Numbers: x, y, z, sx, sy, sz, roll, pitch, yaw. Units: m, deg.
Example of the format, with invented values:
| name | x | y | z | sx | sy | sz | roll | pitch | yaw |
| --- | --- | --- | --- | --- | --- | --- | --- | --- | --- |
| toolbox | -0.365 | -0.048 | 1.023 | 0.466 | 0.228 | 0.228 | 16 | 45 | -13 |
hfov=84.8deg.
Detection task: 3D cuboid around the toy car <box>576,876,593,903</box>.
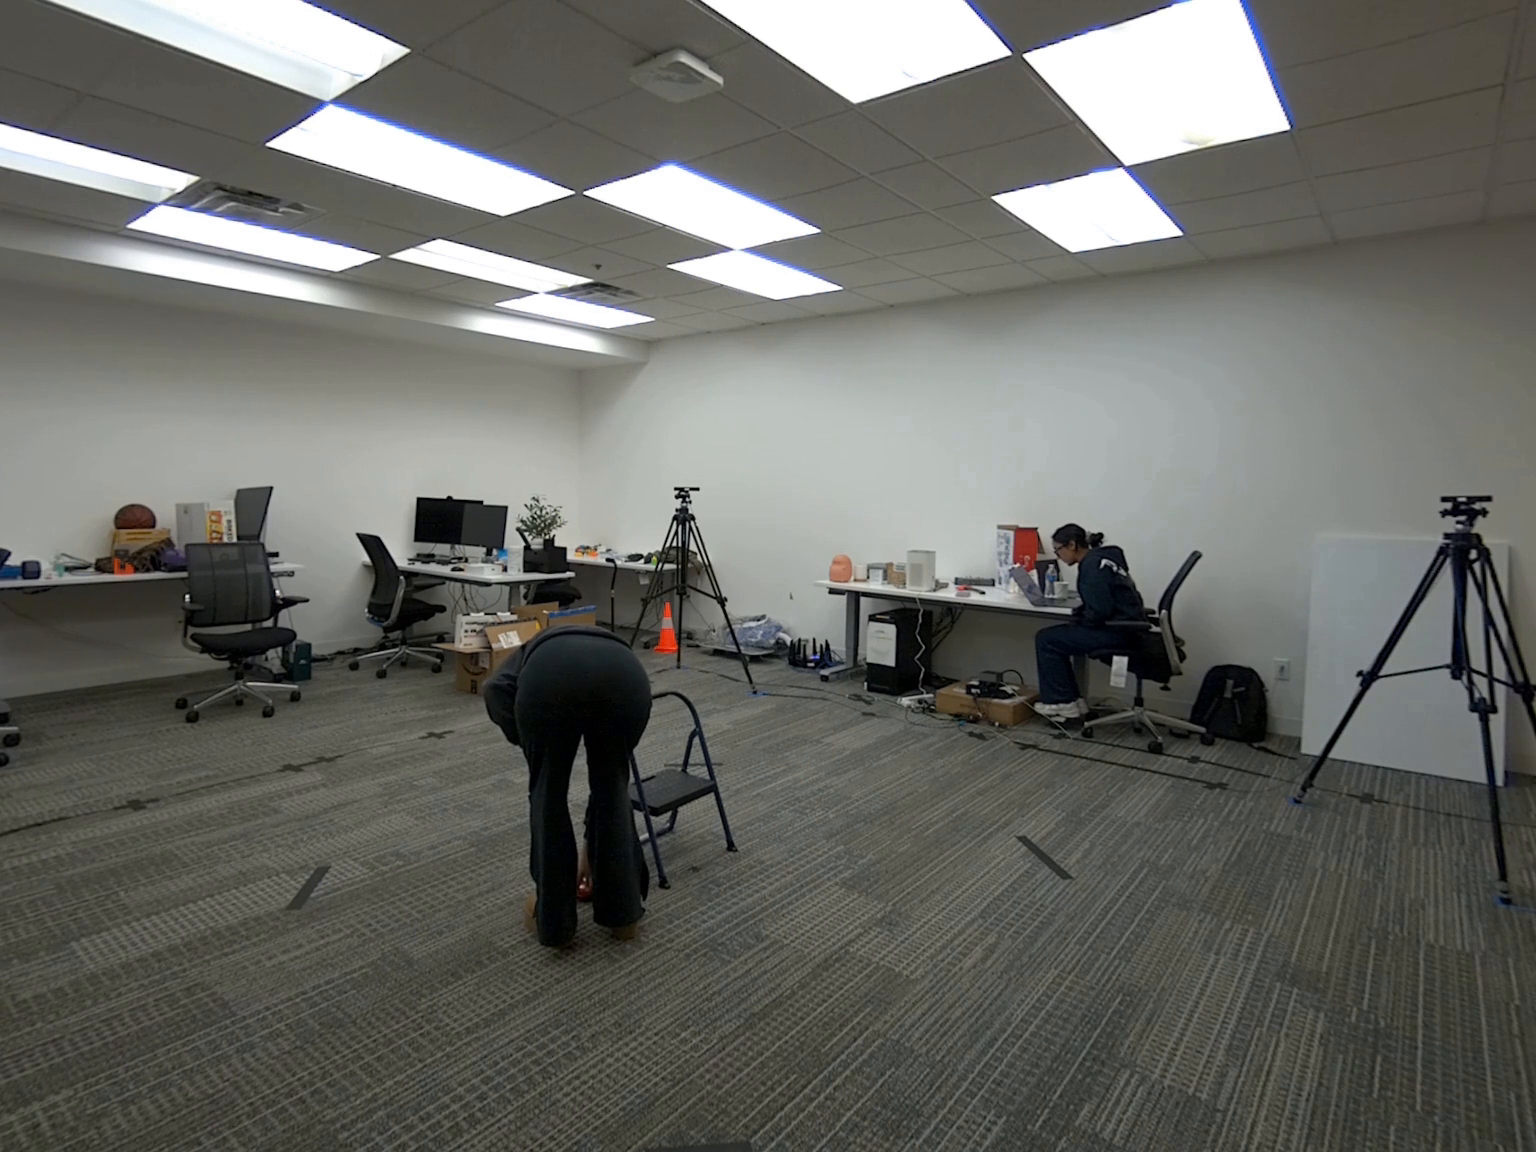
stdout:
| name | x | y | z | sx | sy | sz | roll | pitch | yaw |
| --- | --- | --- | --- | --- | --- | --- | --- | --- | --- |
| toy car | -0.579 | 1.048 | 2.931 | 0.134 | 0.083 | 0.245 | 4 | -4 | 39 |
